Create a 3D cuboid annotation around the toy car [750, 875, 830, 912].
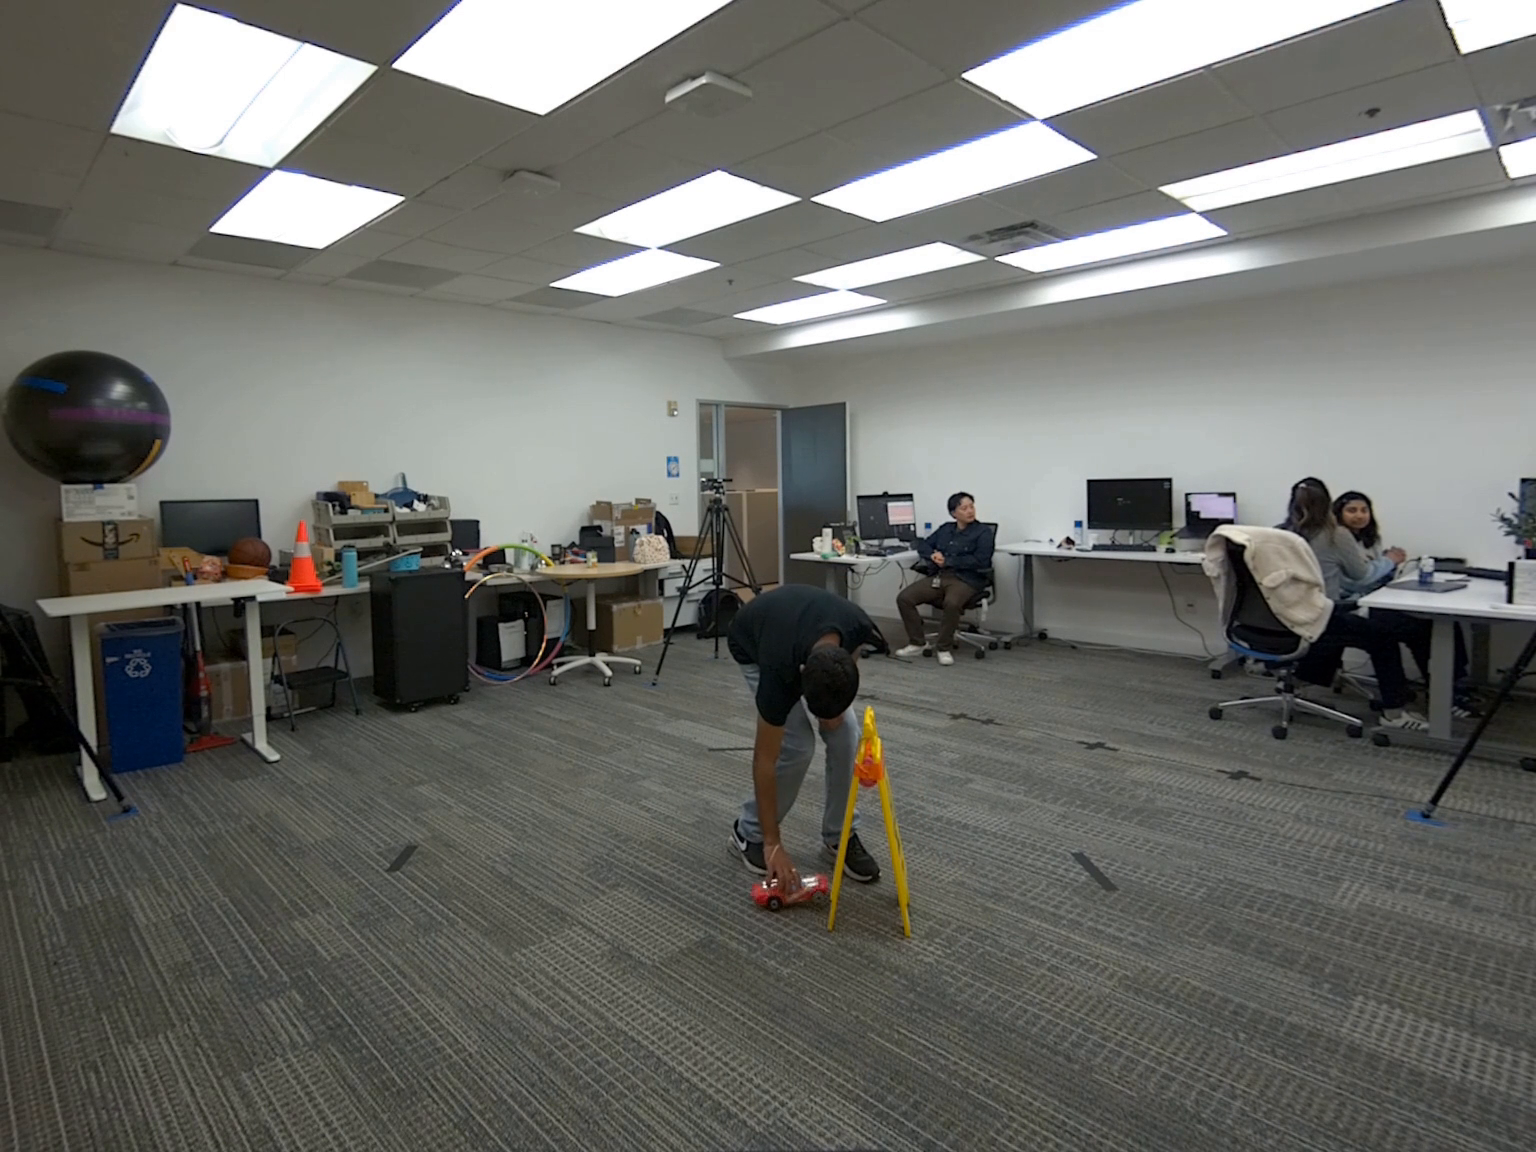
[{"bbox_3d":[0.070,1.034,2.793,0.256,0.083,0.130,0,5,5],"label":"toy car"}]
